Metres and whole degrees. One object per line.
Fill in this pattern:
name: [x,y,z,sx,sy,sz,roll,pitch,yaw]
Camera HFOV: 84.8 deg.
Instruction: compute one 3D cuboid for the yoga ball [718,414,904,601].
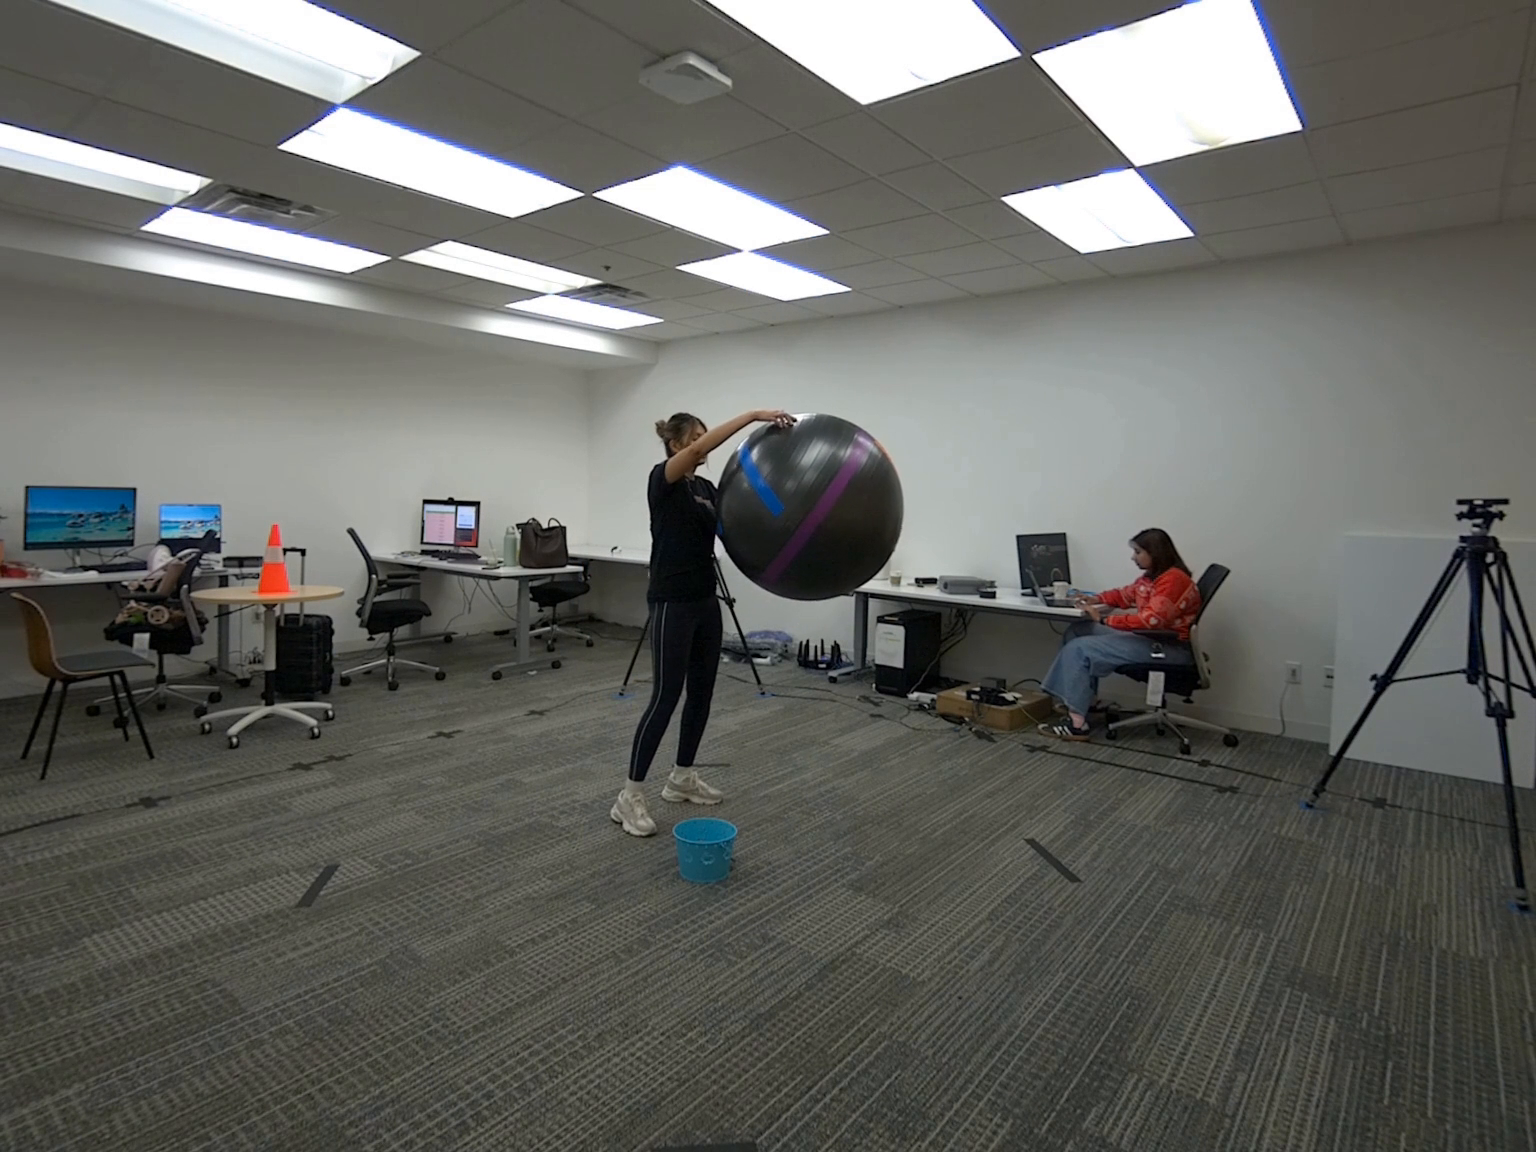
yoga ball: [0.162,-0.274,3.454,0.757,0.756,0.761,1,4,-2]
